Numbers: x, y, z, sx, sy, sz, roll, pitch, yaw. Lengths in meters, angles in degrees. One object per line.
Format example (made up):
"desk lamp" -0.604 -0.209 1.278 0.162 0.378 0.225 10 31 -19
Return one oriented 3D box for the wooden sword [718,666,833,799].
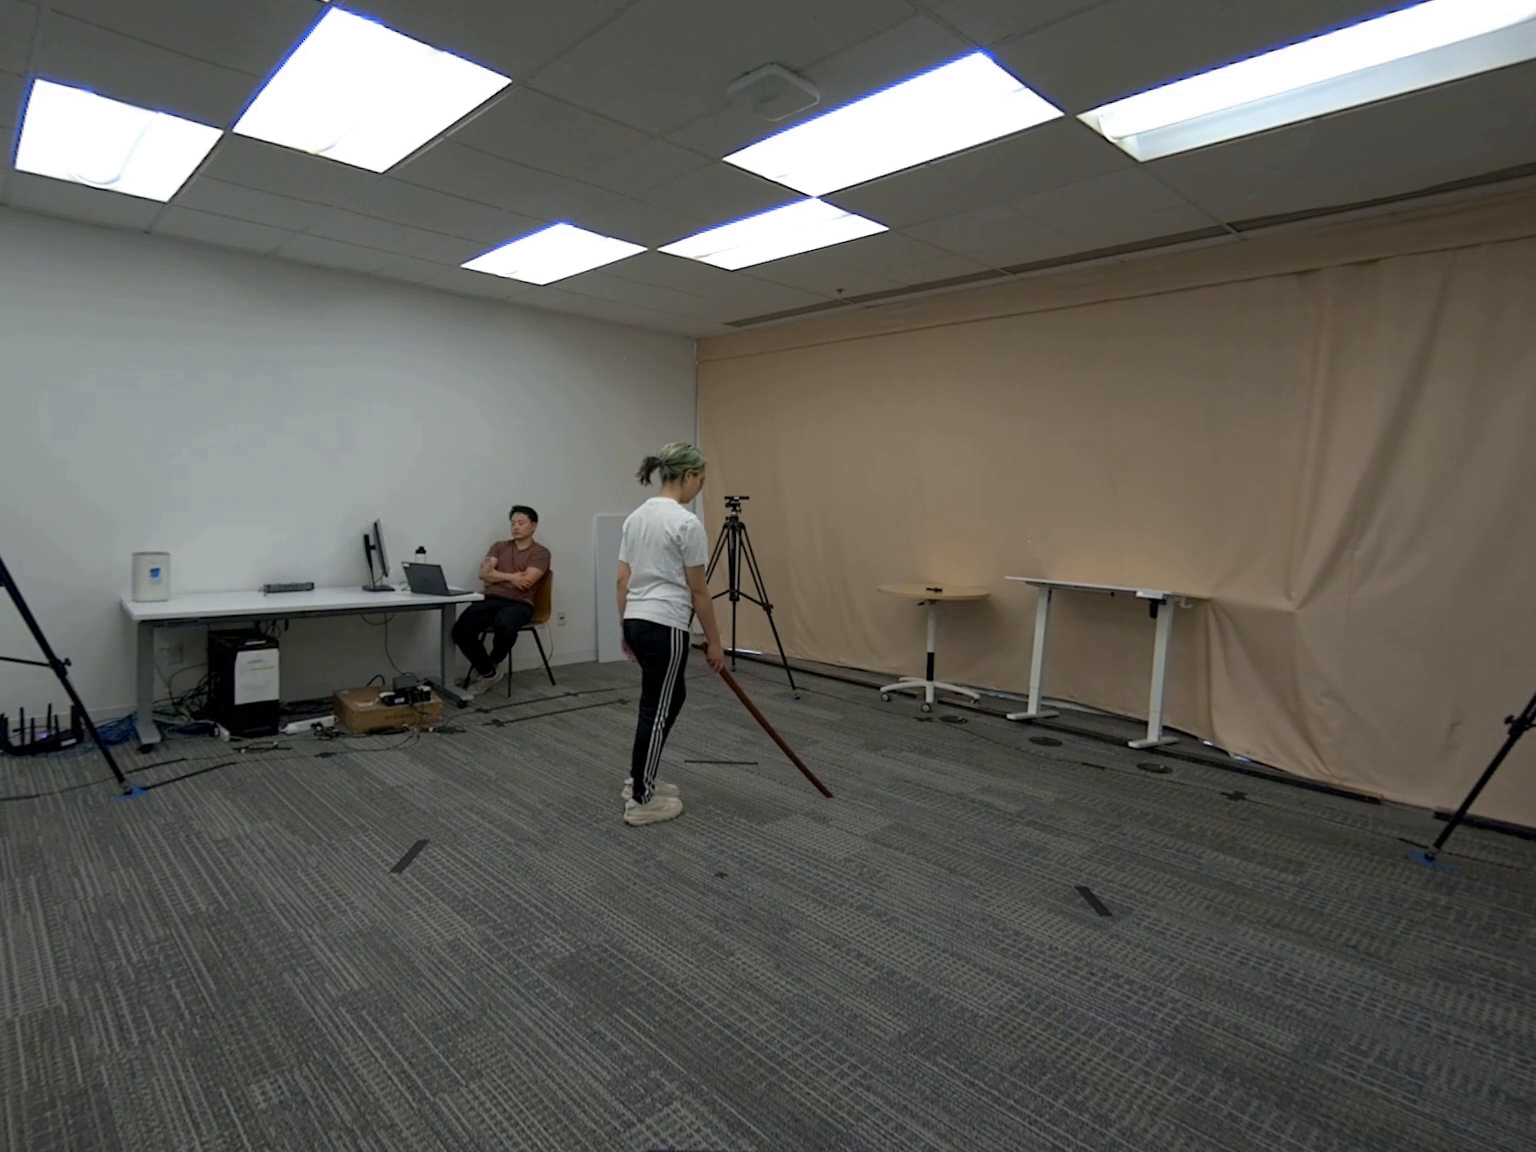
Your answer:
"wooden sword" -0.013 0.669 3.816 0.024 1.002 0.052 -44 23 -15
